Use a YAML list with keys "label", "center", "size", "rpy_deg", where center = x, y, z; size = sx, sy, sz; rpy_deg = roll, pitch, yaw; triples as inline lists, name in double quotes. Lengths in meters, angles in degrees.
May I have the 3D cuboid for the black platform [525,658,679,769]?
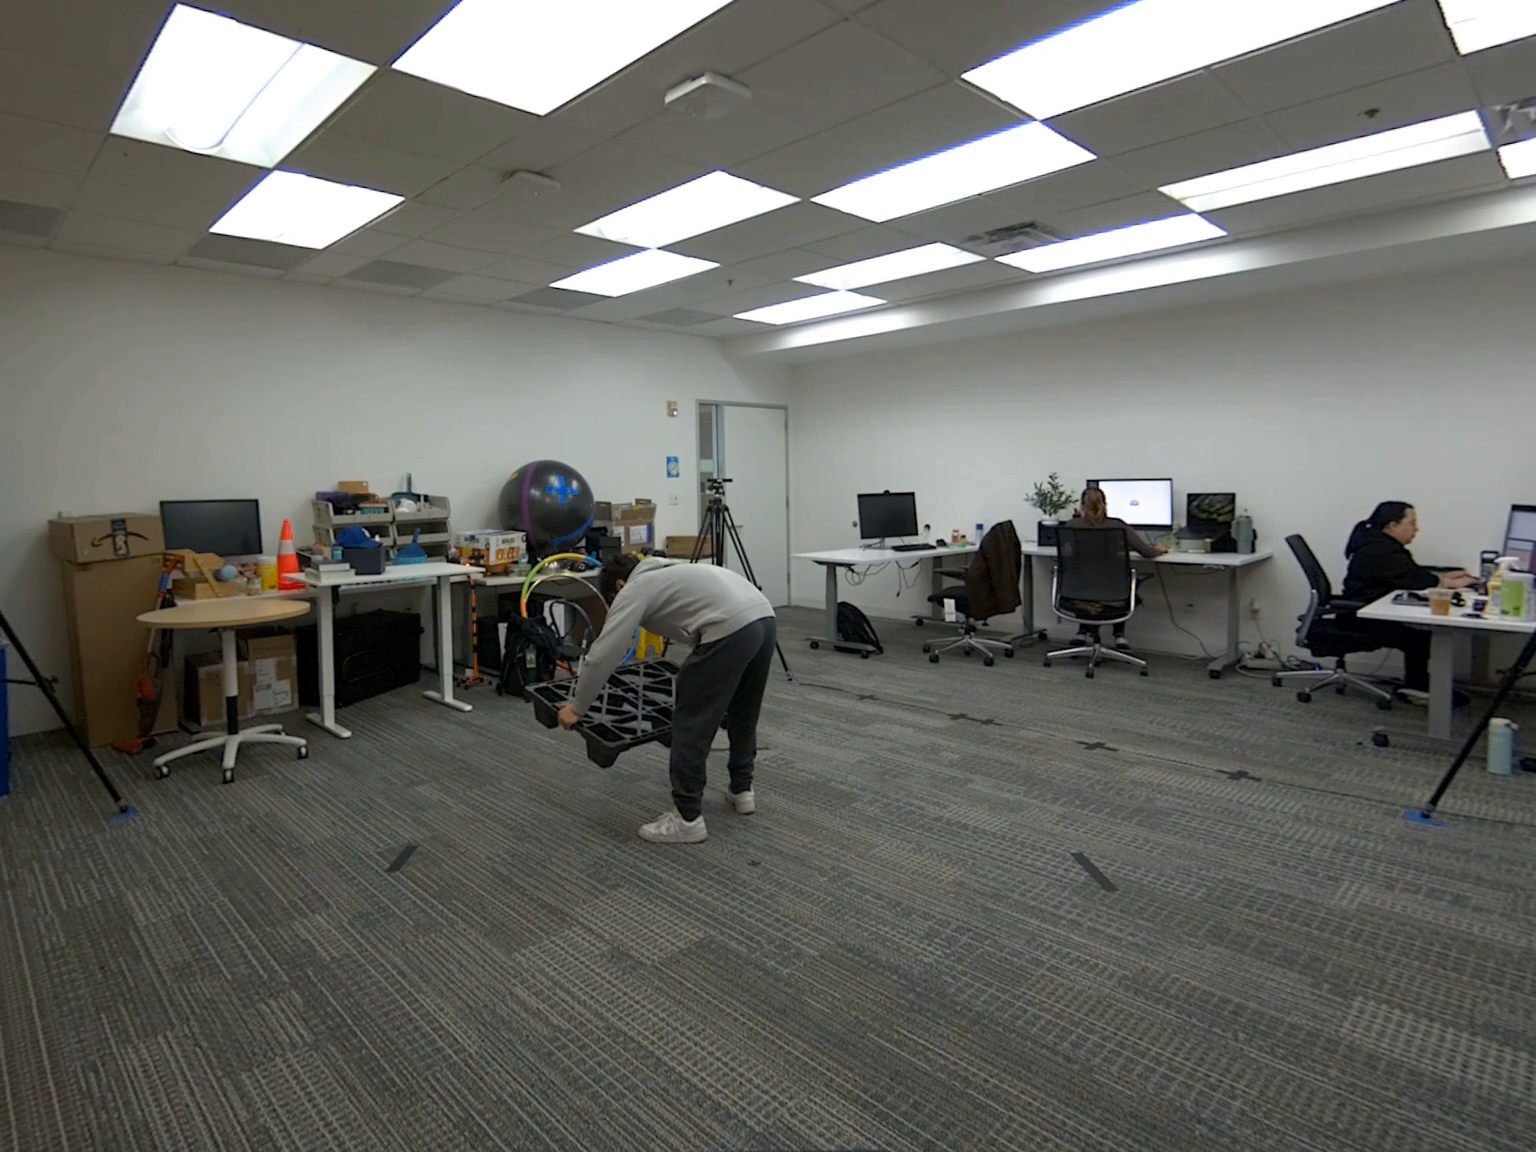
- label: "black platform"
  center: [-0.560, 0.583, 3.699]
  size: [0.627, 0.142, 0.785]
  rpy_deg: [22, 20, 38]
